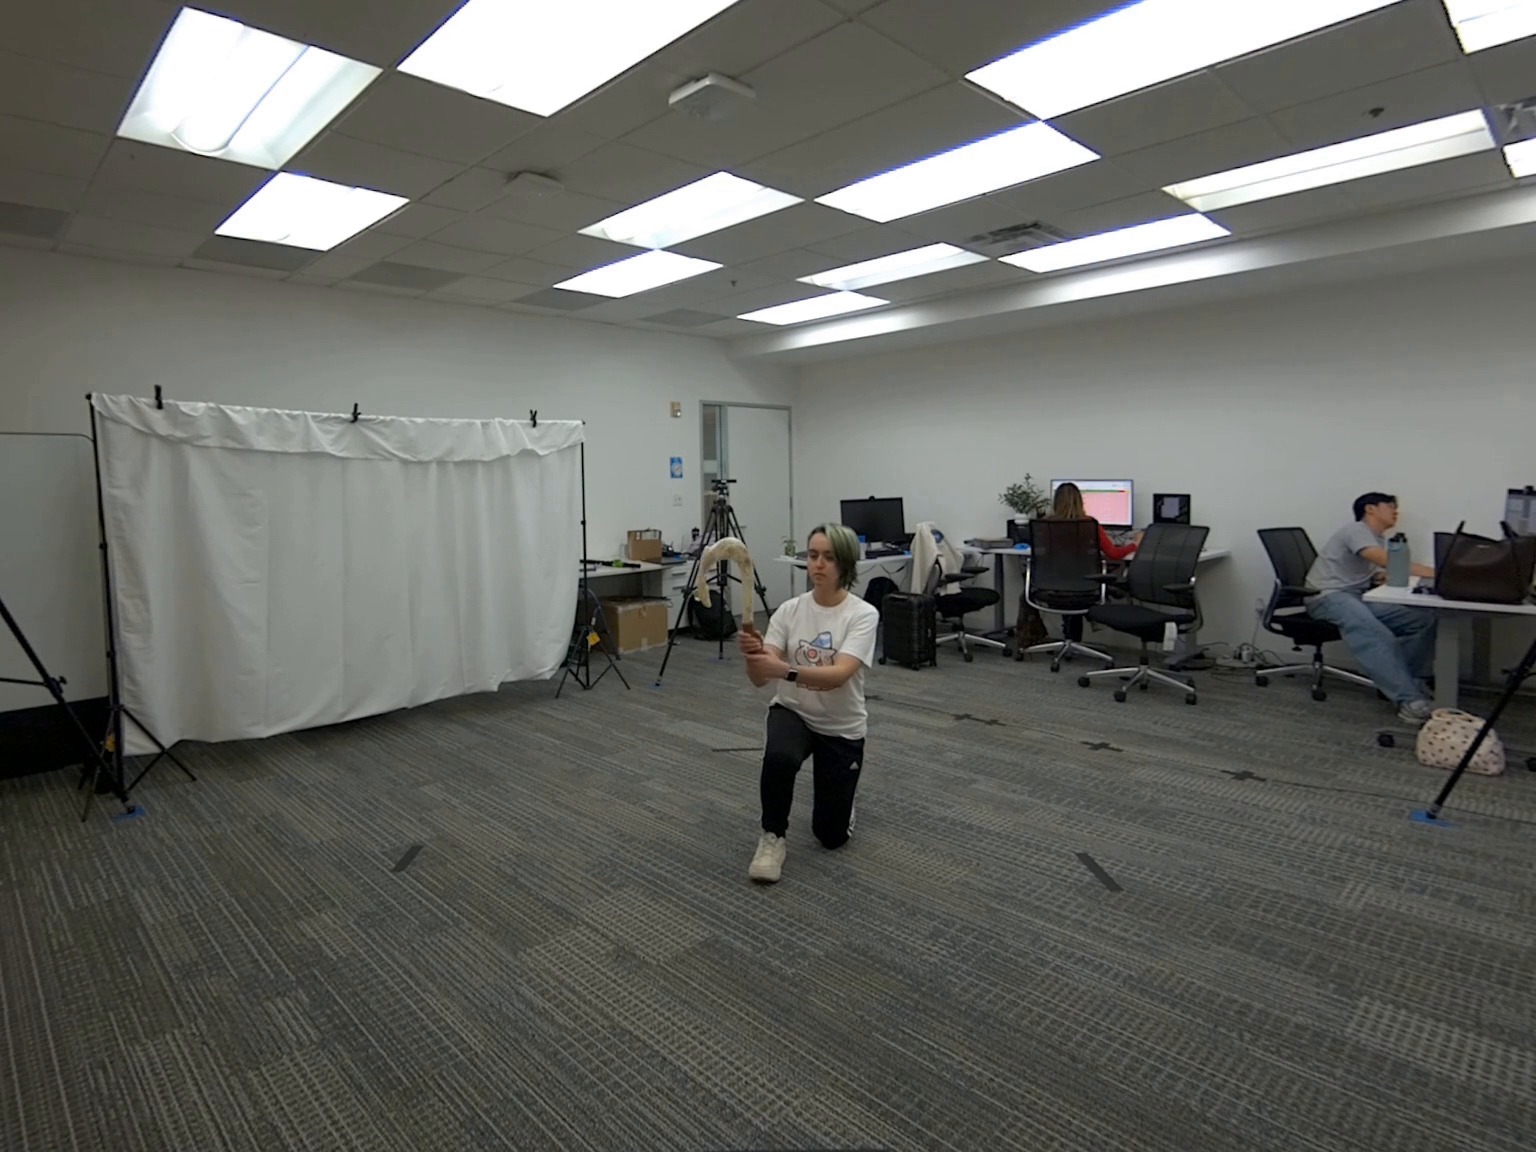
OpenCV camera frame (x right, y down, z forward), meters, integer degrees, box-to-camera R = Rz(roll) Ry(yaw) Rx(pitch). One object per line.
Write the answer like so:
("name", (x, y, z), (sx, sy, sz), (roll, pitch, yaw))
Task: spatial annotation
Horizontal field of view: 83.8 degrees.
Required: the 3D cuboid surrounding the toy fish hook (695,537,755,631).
("toy fish hook", (-0.112, 0.121, 2.837), (0.222, 0.496, 0.050), (-24, 21, -28))
